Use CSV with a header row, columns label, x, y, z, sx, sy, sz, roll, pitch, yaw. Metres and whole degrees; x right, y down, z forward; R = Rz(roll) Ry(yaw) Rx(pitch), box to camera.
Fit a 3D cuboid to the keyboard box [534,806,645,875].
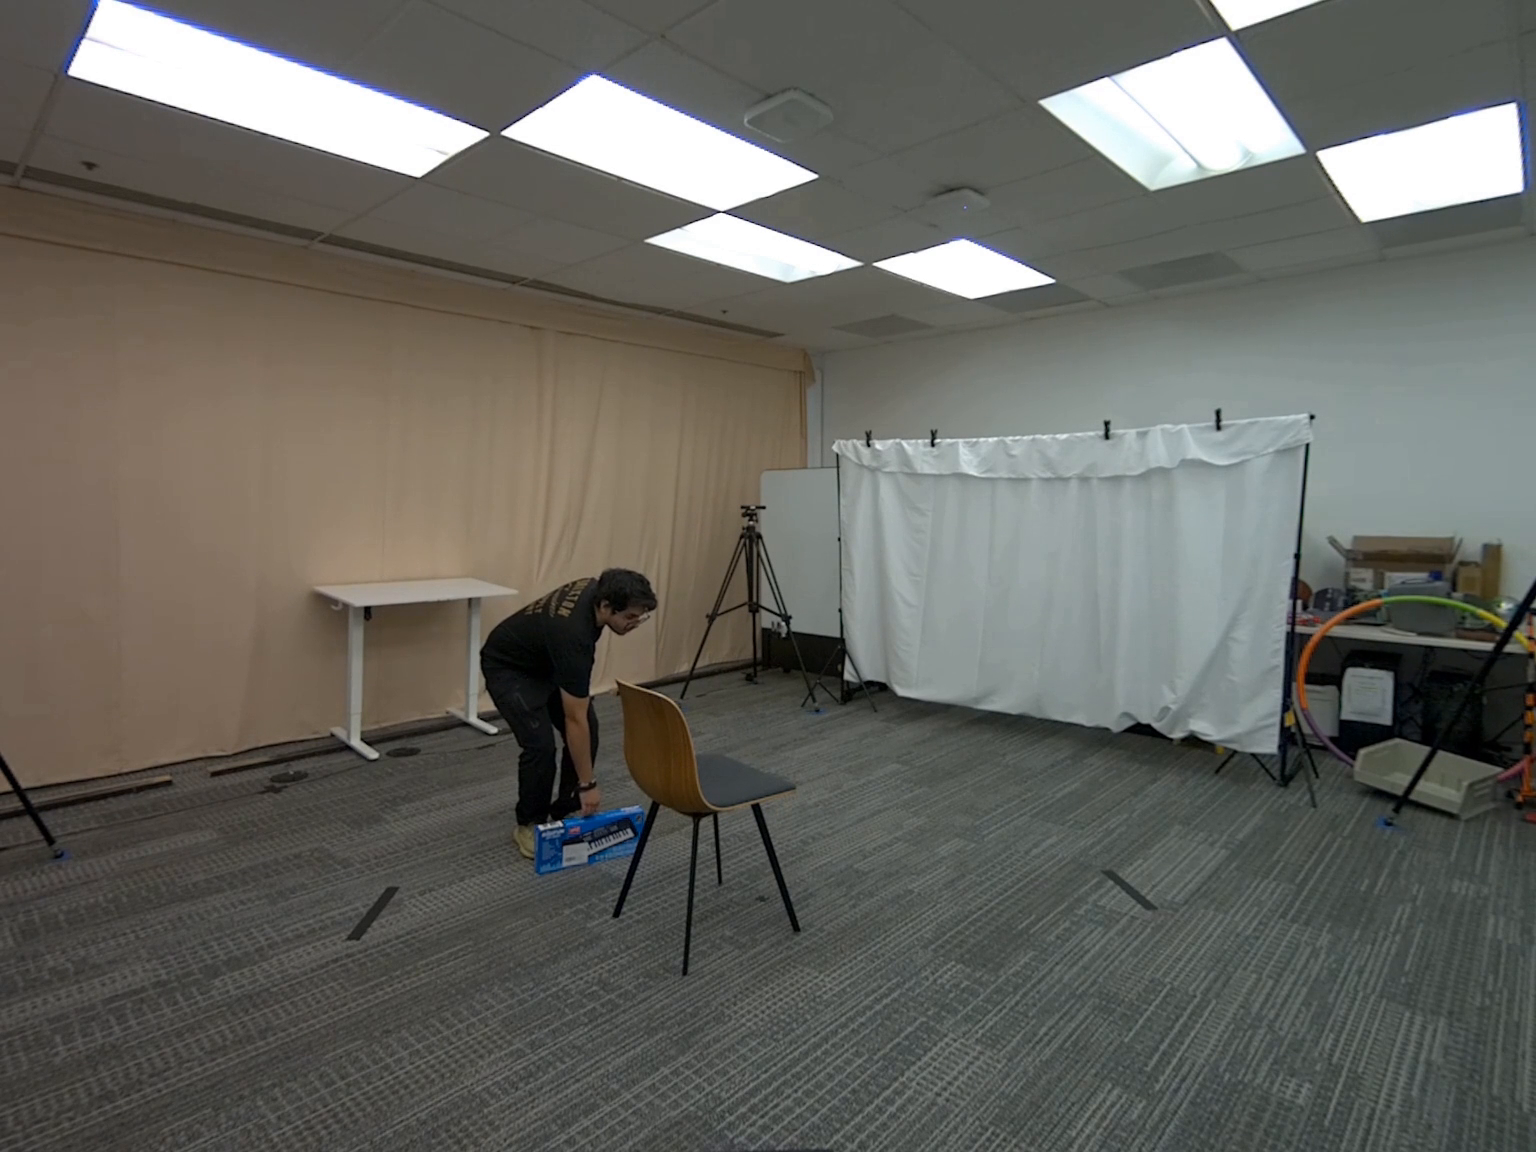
label,x,y,z,sx,sy,sz,roll,pitch,yaw
keyboard box,-0.704,1.036,3.316,0.425,0.175,0.061,-3,7,-29
